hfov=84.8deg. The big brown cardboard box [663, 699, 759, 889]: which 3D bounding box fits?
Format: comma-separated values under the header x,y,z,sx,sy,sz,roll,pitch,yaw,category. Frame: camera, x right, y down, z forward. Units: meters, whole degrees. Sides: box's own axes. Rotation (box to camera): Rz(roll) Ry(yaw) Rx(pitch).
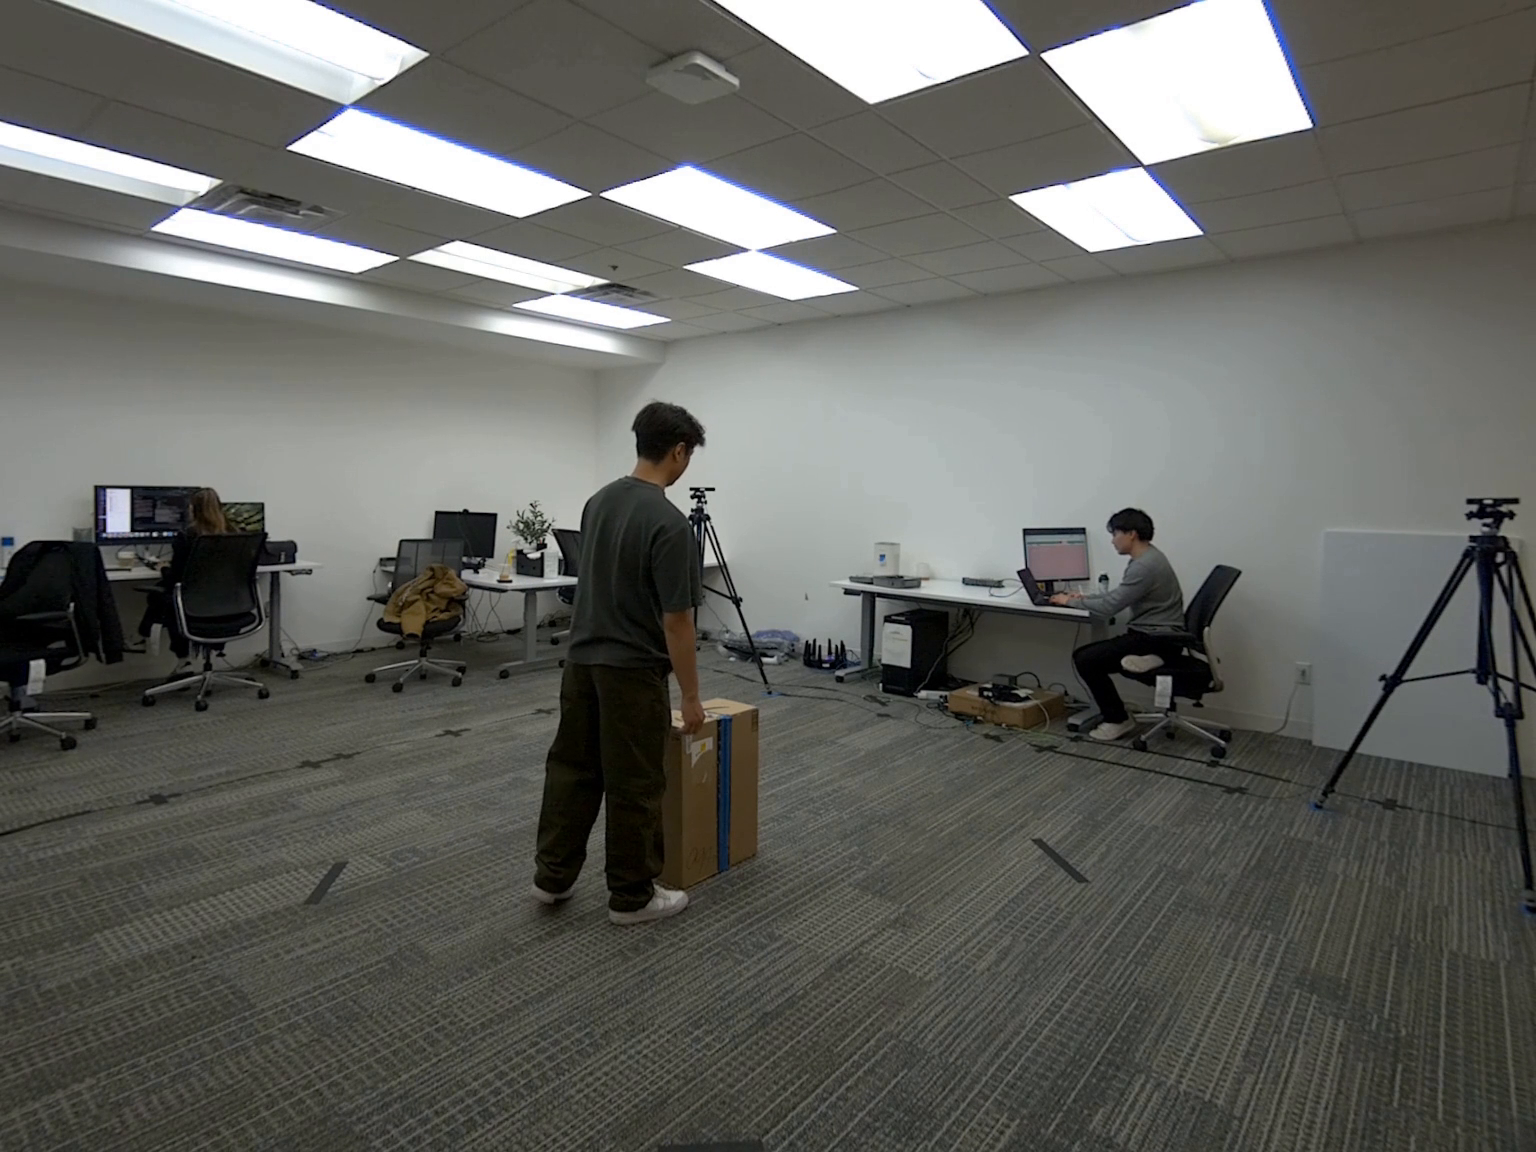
x,y,z,sx,sy,sz,roll,pitch,yaw,category
-0.254,0.775,3.139,0.241,0.586,0.405,4,6,40,big brown cardboard box
